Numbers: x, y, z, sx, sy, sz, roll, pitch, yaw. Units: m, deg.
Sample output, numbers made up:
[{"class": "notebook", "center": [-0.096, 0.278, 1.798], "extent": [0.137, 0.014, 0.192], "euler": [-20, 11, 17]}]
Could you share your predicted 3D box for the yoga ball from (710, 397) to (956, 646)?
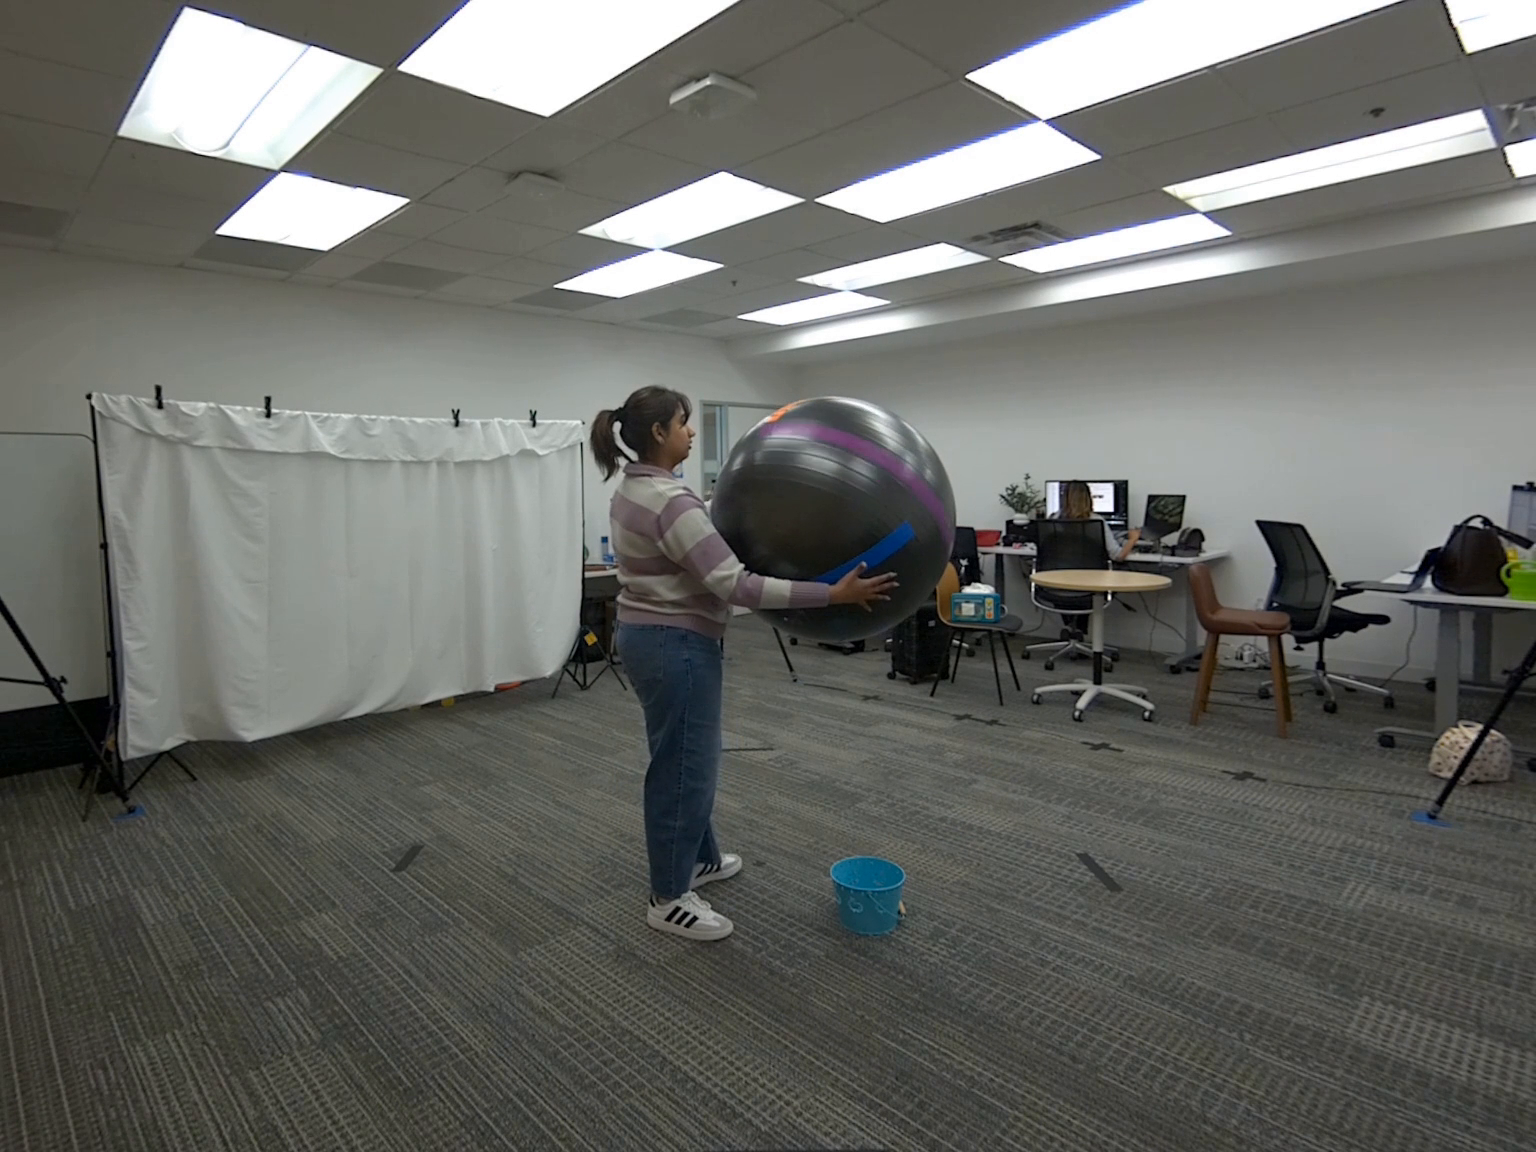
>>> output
[{"class": "yoga ball", "center": [0.205, -0.174, 2.679], "extent": [0.757, 0.755, 0.762], "euler": [-1, 5, -2]}]
